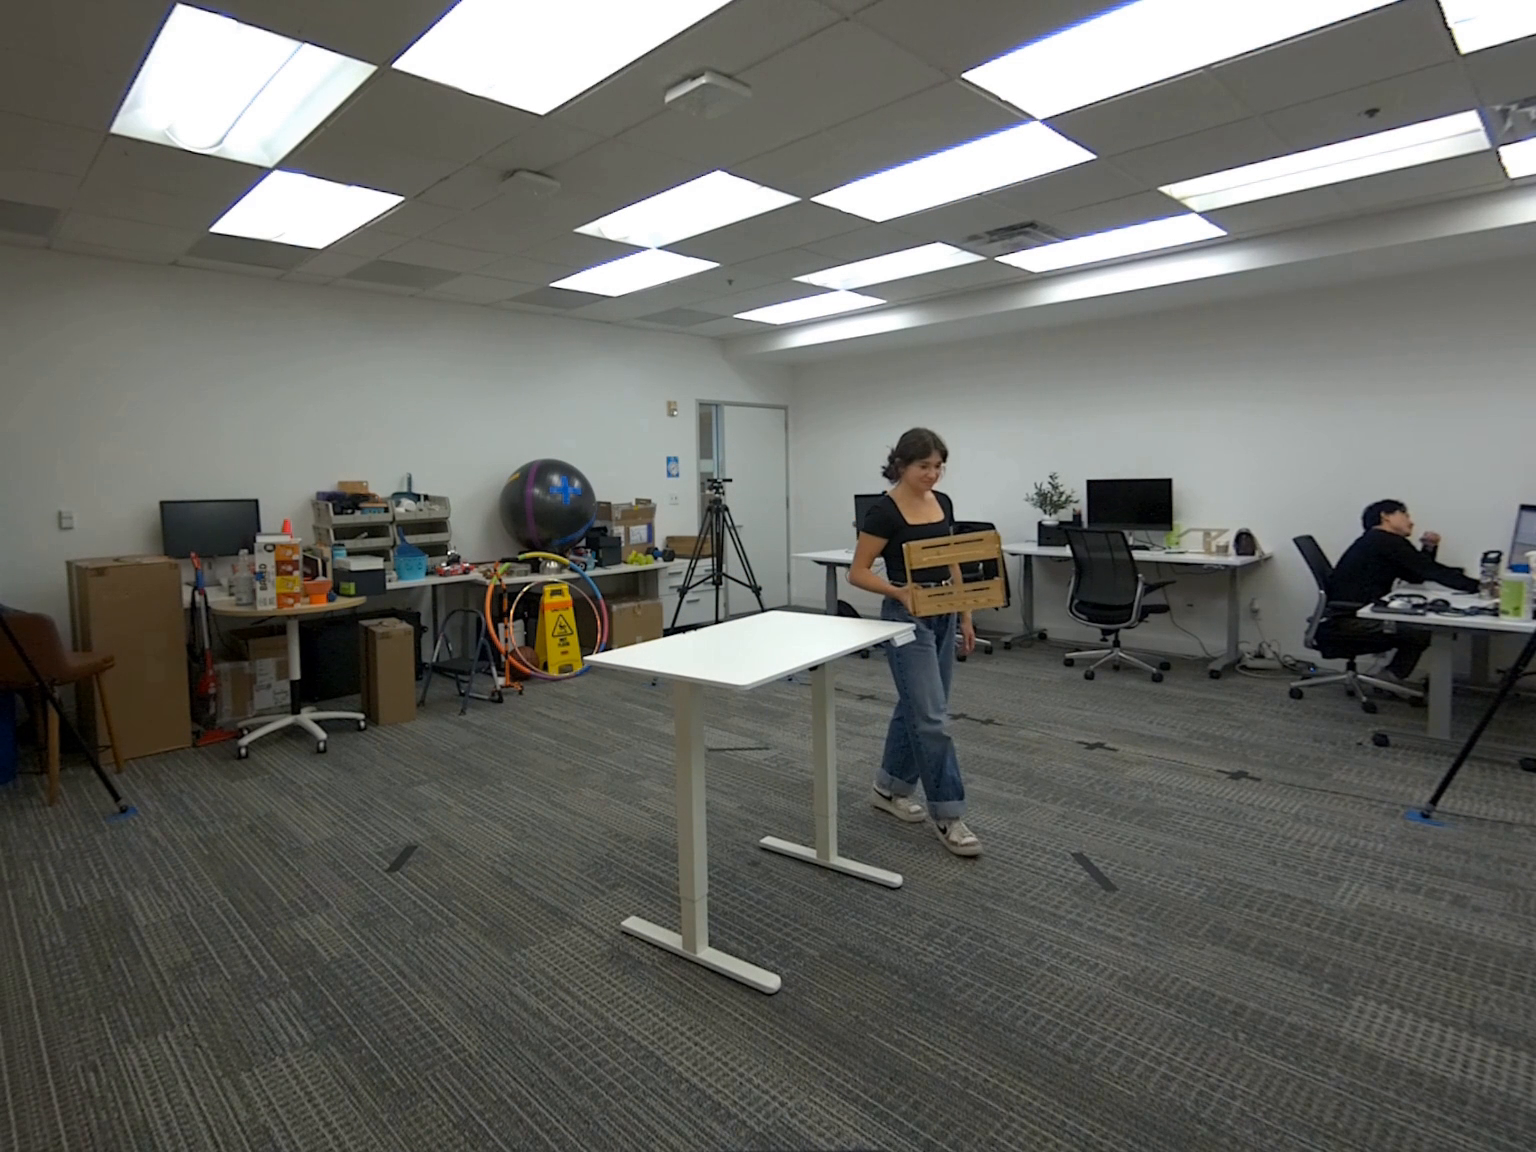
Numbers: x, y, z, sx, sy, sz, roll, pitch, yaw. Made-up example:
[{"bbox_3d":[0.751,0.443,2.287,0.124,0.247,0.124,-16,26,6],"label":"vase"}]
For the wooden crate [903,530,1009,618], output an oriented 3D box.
[{"bbox_3d":[0.667,-0.017,3.033,0.327,0.273,0.300,-9,2,10],"label":"wooden crate"}]
